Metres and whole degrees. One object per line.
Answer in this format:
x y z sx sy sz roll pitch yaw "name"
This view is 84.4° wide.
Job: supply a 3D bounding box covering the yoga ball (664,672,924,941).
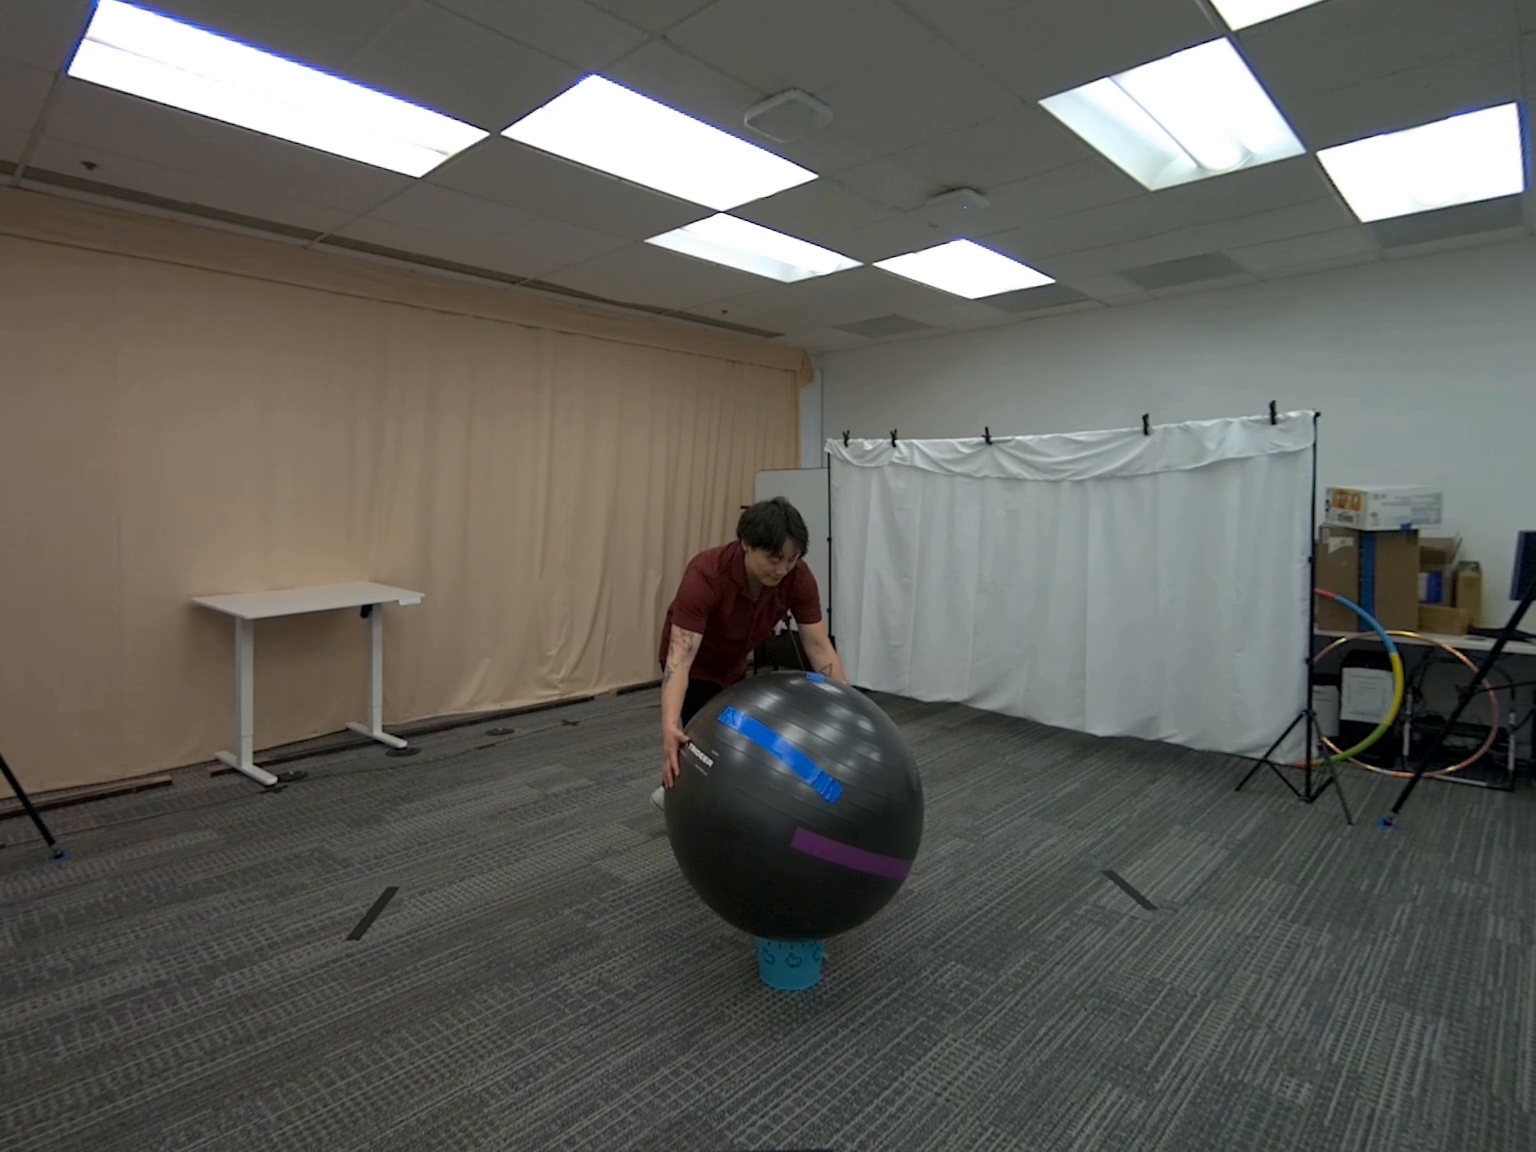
0.076 0.669 2.491 0.757 0.756 0.760 0 4 -2 "yoga ball"
